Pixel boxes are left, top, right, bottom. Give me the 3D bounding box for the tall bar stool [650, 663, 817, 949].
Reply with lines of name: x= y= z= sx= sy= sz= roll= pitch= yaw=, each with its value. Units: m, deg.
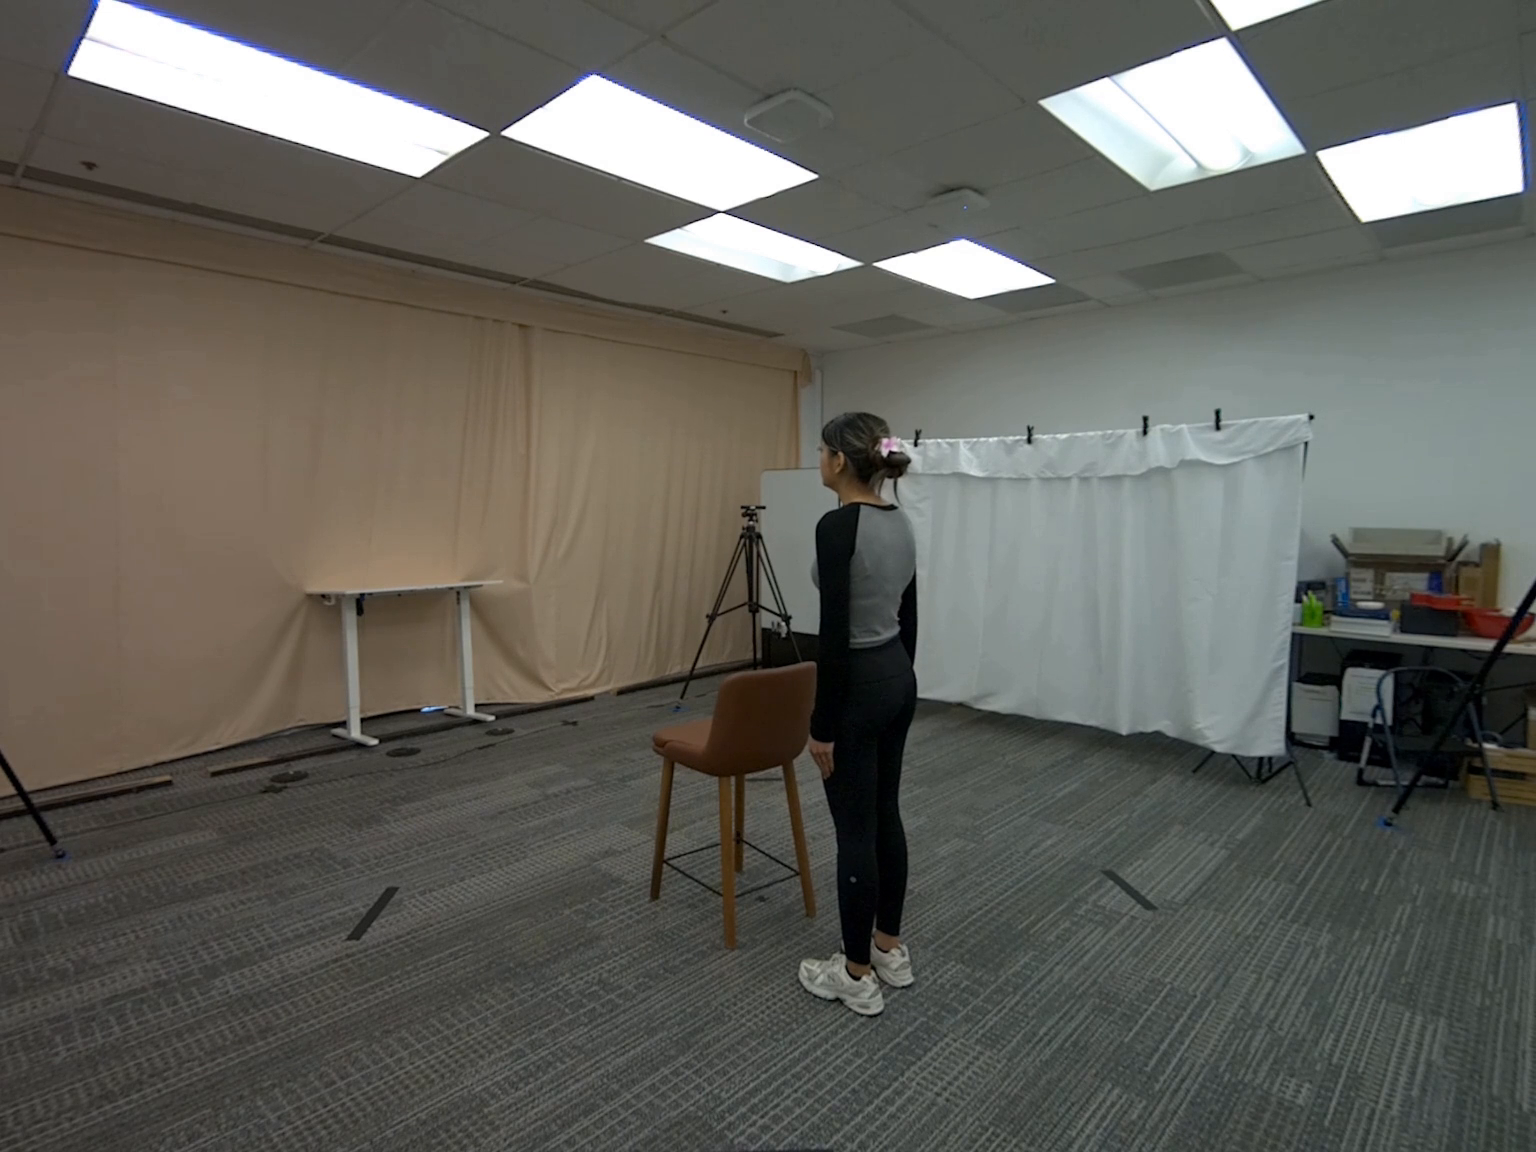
tall bar stool: x=-0.117 y=0.713 z=2.894 sx=0.443 sy=0.887 sz=0.483 roll=-3 pitch=7 yaw=-38
